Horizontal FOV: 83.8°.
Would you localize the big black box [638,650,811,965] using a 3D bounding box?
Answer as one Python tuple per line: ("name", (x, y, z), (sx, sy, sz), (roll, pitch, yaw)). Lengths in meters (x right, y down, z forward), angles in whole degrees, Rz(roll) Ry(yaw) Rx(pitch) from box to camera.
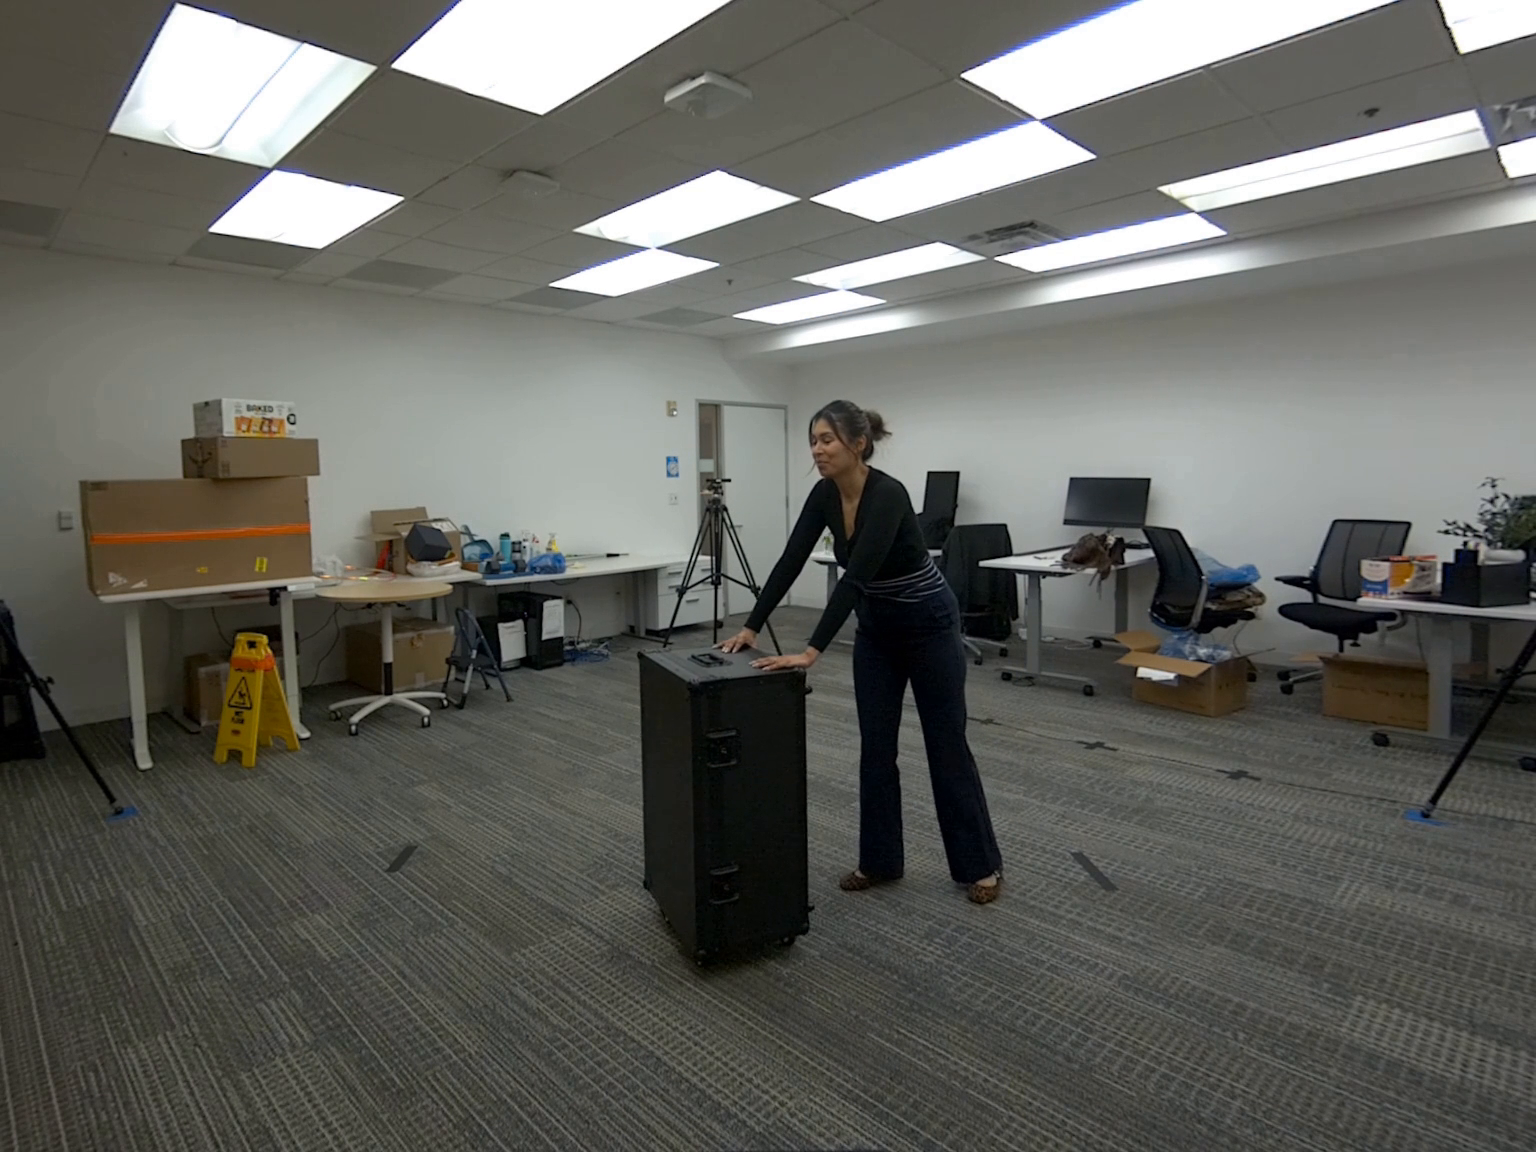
("big black box", (-0.137, 0.677, 2.629), (0.388, 0.859, 0.534), (-2, 4, -24))
